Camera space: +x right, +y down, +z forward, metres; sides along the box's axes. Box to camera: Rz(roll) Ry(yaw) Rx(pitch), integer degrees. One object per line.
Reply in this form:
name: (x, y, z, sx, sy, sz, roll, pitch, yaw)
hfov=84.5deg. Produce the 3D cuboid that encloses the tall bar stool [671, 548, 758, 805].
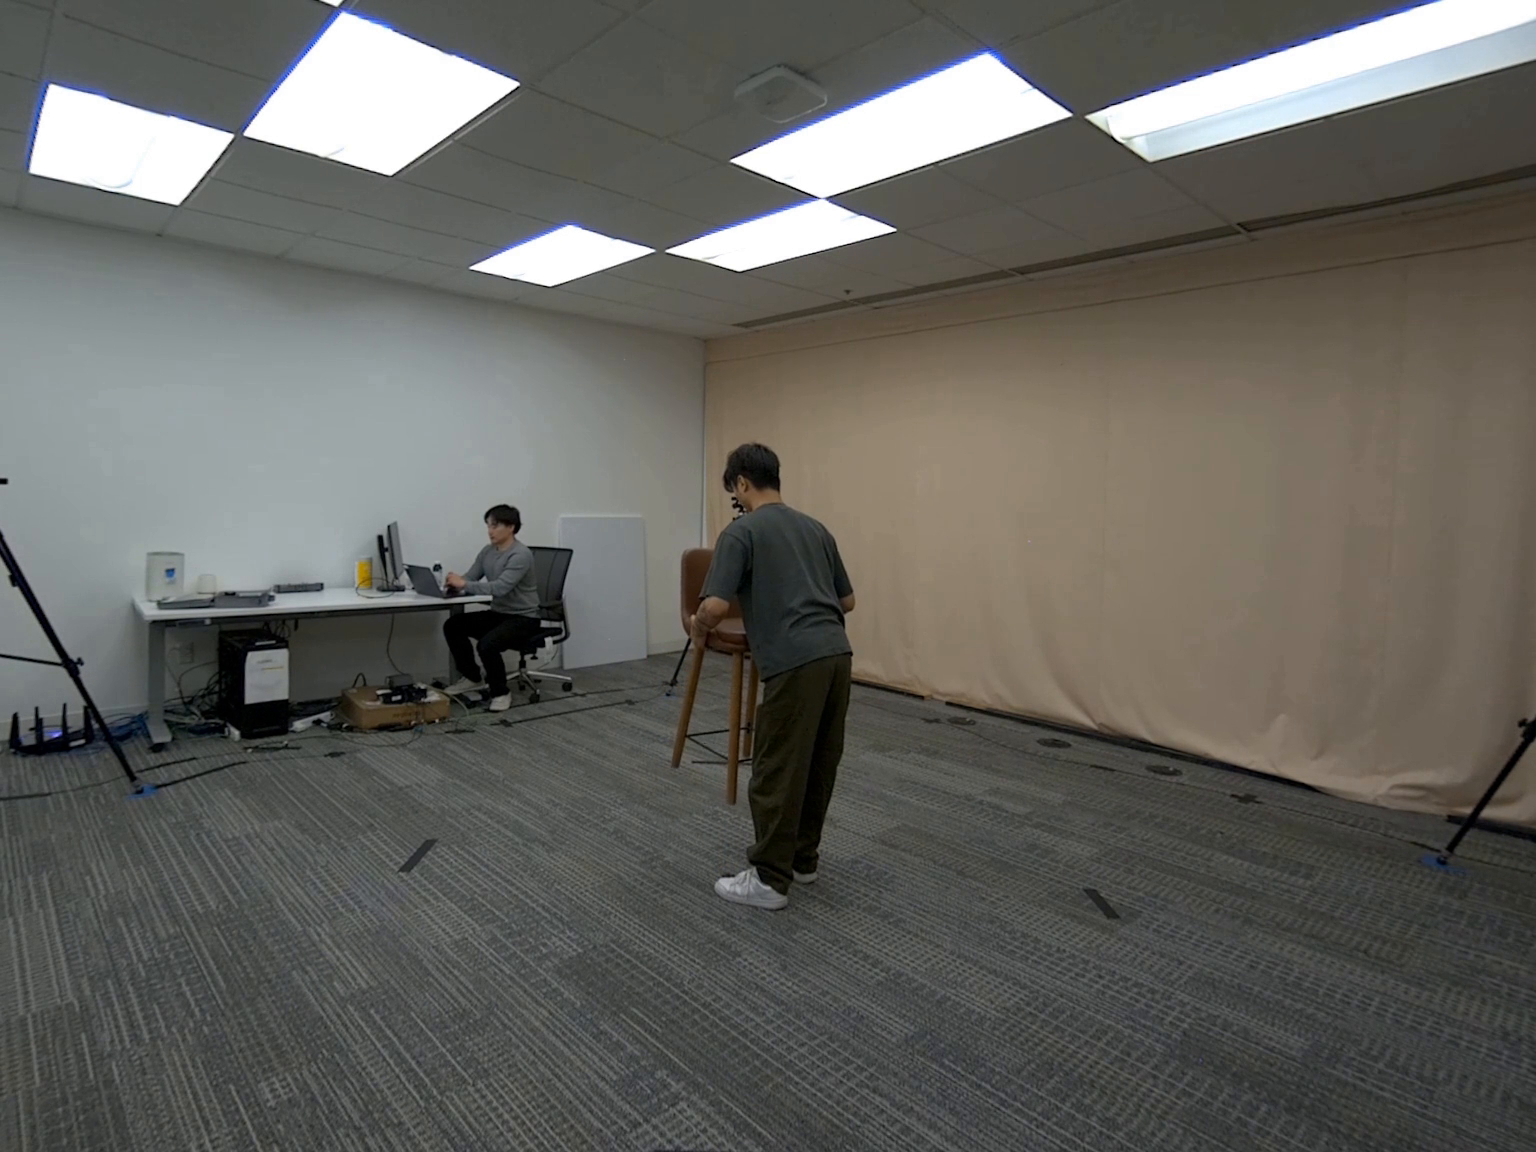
tall bar stool: (-0.087, 0.360, 3.245, 0.446, 0.888, 0.479, 1, 2, -36)
